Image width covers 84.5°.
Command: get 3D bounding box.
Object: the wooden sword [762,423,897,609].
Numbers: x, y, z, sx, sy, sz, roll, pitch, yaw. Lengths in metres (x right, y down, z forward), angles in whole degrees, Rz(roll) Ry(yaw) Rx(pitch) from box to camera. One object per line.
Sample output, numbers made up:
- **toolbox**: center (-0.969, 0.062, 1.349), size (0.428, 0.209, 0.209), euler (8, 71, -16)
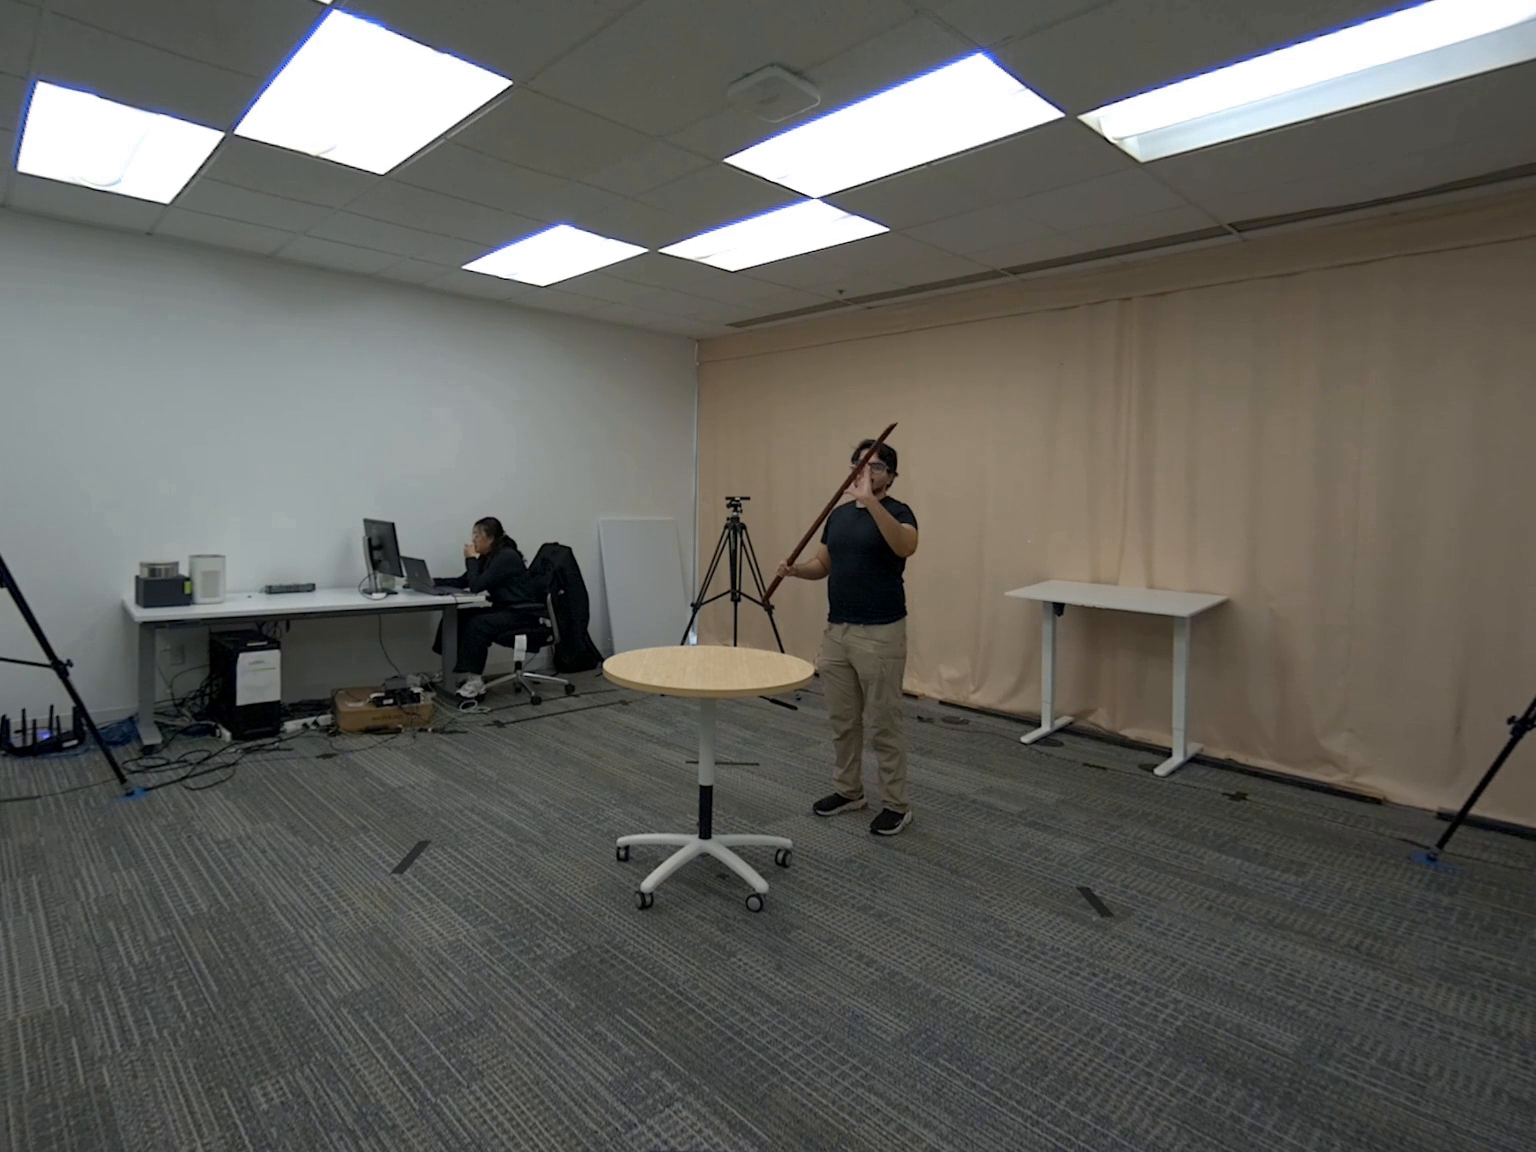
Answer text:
- **wooden sword**: center (0.203, -0.220, 3.465), size (0.050, 1.020, 0.025), euler (12, 39, -33)
